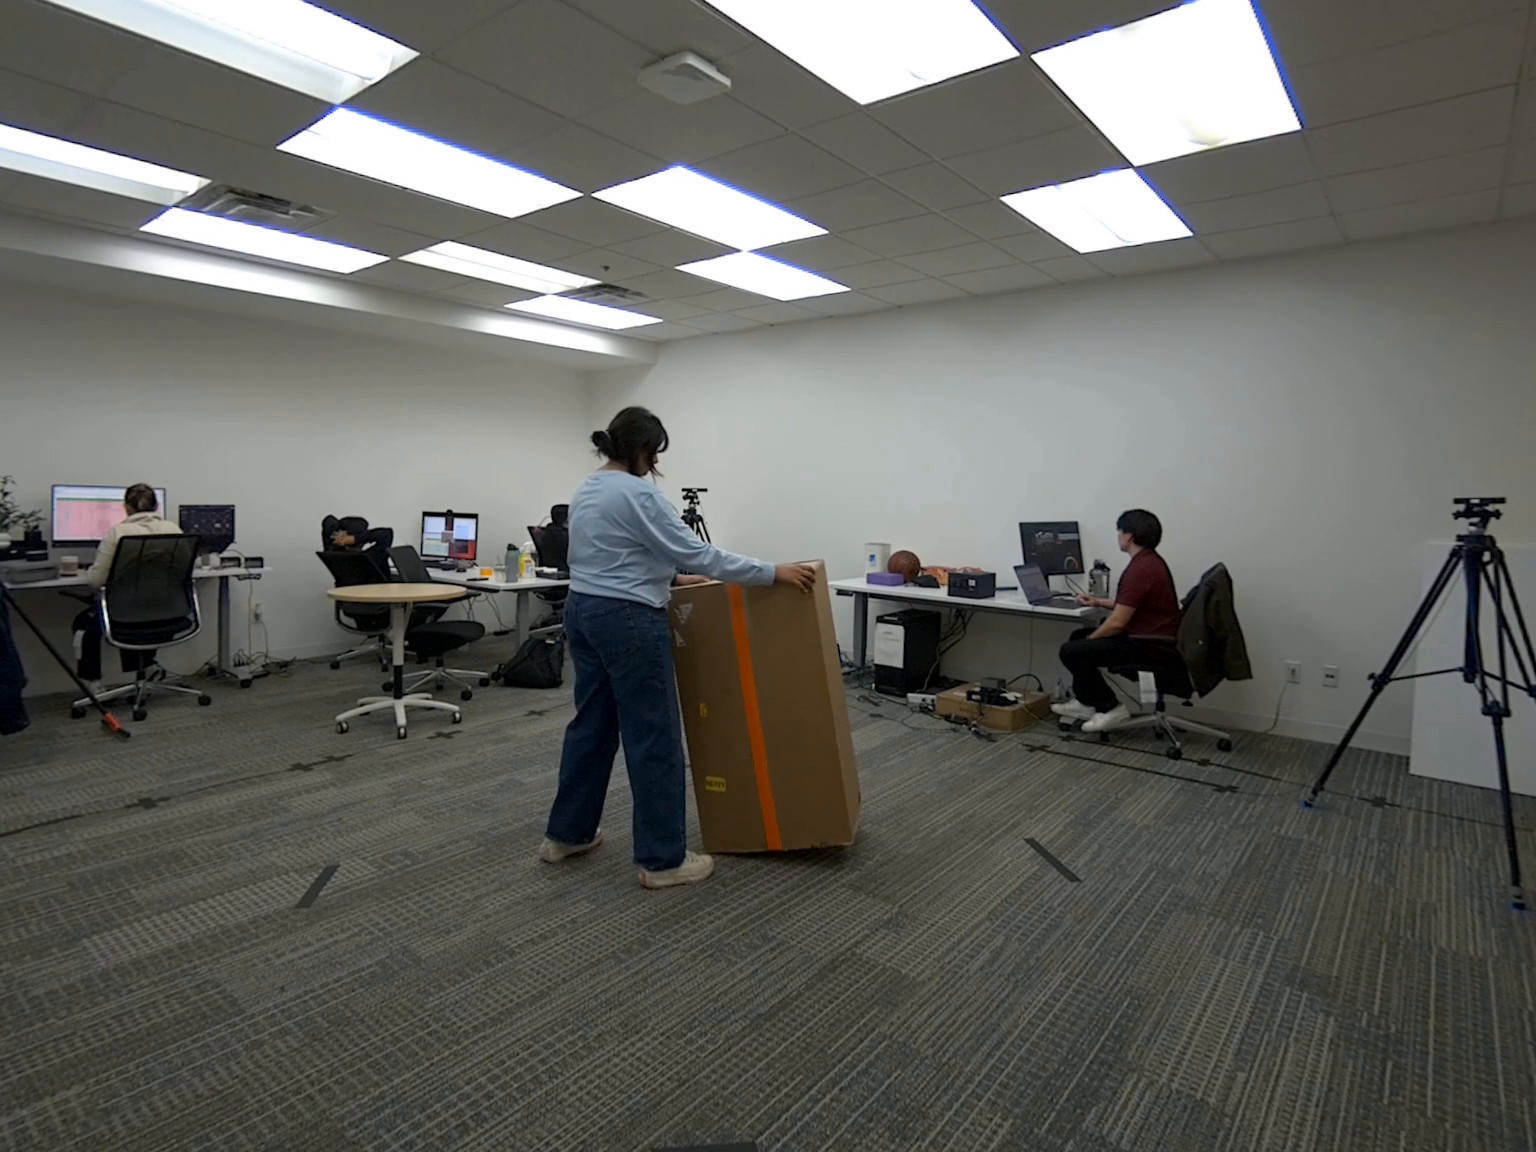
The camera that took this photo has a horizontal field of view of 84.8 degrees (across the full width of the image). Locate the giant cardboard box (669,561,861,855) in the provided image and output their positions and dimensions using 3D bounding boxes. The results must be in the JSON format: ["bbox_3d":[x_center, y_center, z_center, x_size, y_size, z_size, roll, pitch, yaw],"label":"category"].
[{"bbox_3d":[-0.012,0.501,3.365,0.591,1.026,0.441,-8,1,13],"label":"giant cardboard box"}]
